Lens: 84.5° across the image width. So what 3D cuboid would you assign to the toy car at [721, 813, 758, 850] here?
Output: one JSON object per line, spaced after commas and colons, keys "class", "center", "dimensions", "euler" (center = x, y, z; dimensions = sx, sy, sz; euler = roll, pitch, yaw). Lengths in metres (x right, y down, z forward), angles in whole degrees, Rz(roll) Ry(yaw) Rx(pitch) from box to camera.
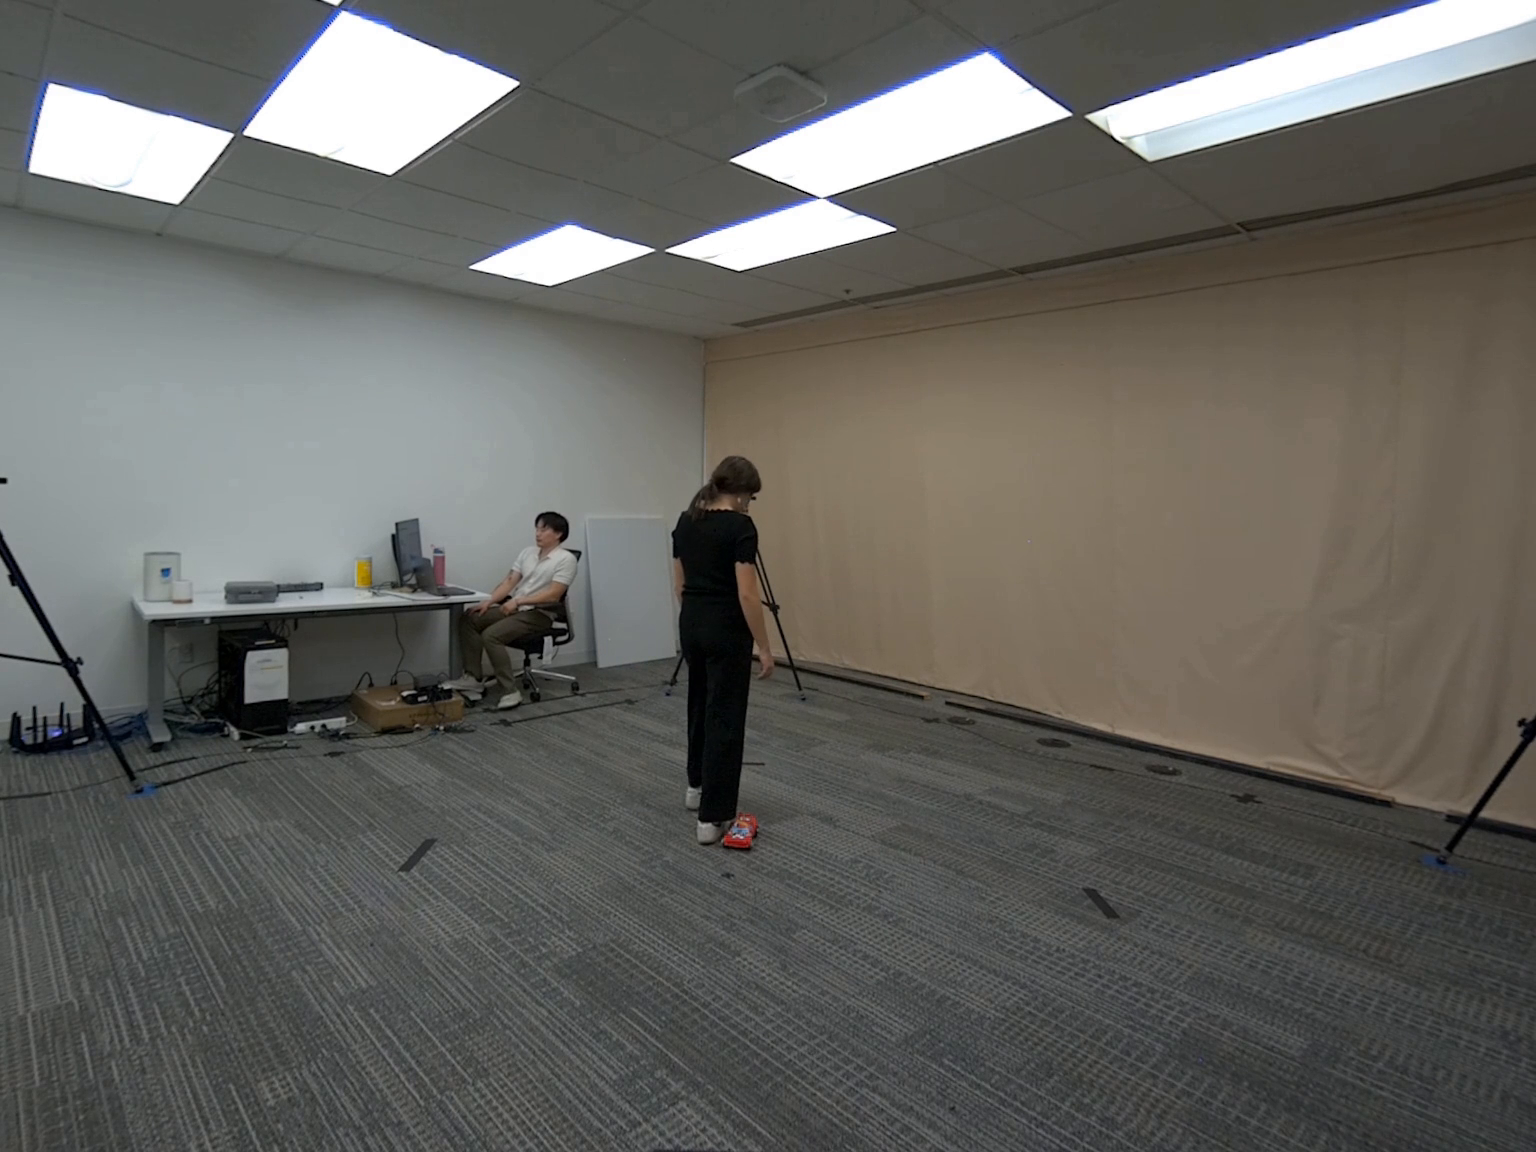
{"class": "toy car", "center": [-0.118, 1.044, 3.442], "dimensions": [0.131, 0.082, 0.255], "euler": [2, 16, 9]}
